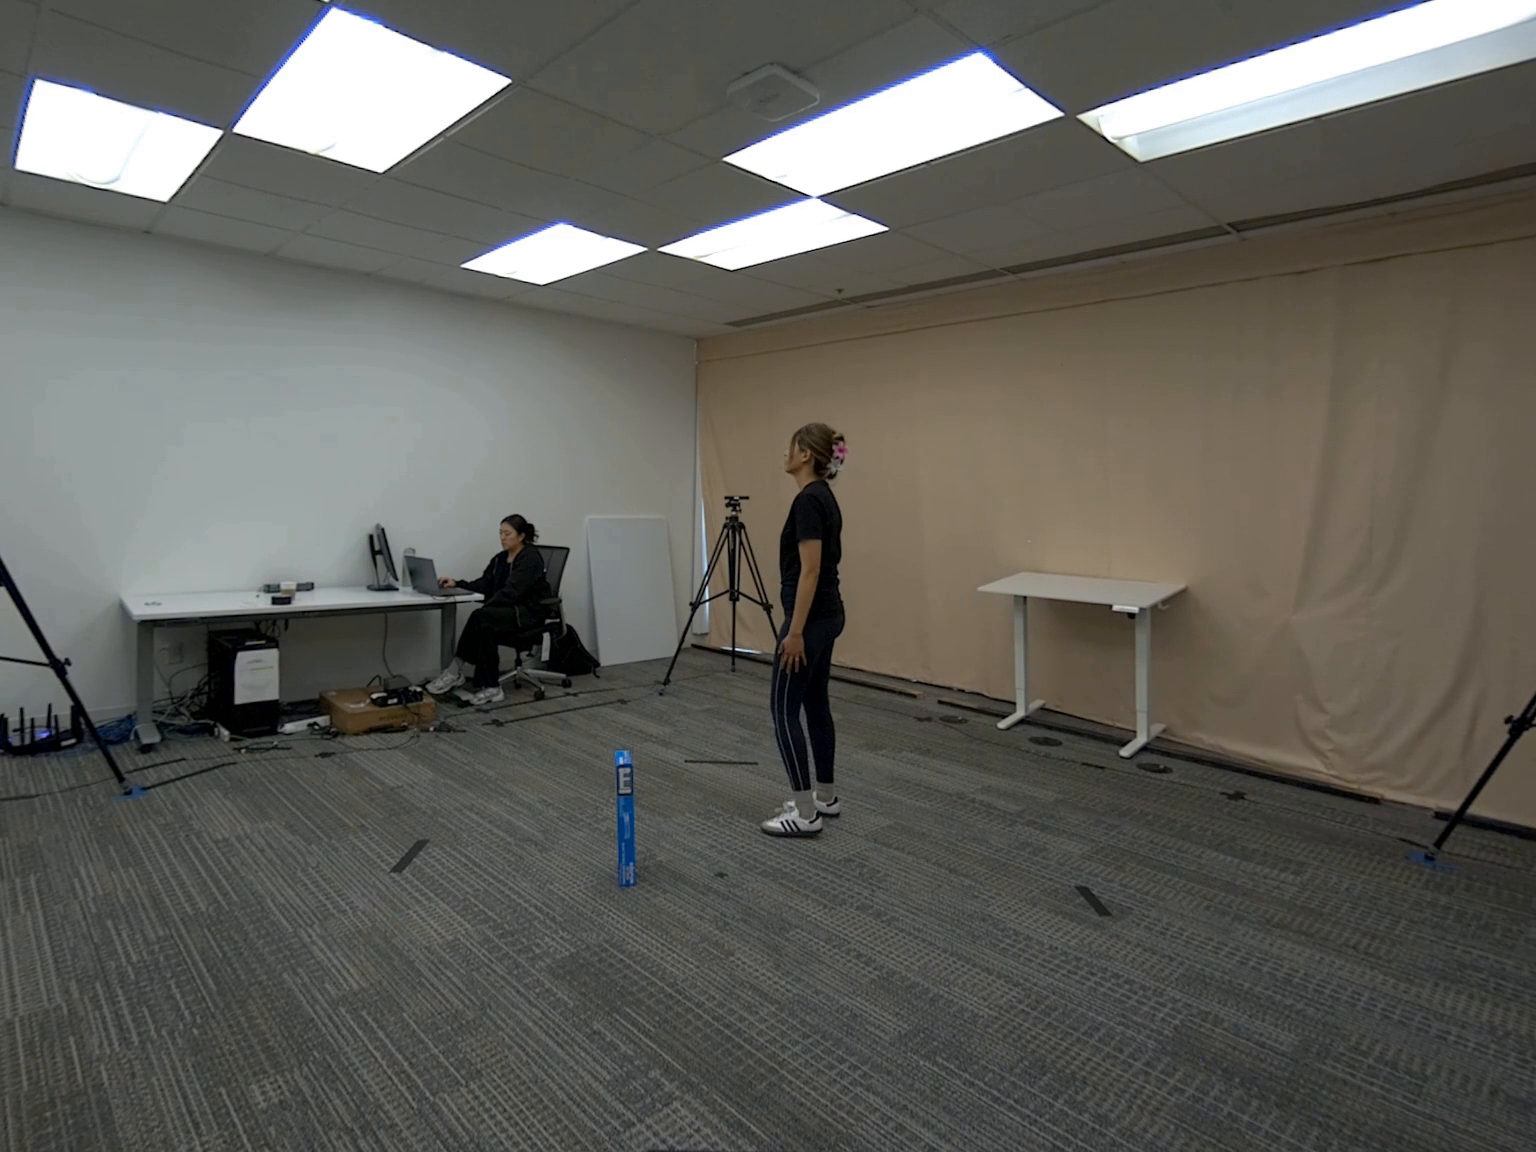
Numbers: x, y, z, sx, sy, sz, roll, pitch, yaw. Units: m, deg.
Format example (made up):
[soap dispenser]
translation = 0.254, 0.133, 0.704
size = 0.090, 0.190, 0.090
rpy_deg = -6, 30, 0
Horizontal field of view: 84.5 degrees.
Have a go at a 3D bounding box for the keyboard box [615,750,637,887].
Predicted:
[keyboard box]
translation = -0.528, 0.880, 3.069
size = 0.058, 0.435, 0.178
rpy_deg = -2, 4, -11
